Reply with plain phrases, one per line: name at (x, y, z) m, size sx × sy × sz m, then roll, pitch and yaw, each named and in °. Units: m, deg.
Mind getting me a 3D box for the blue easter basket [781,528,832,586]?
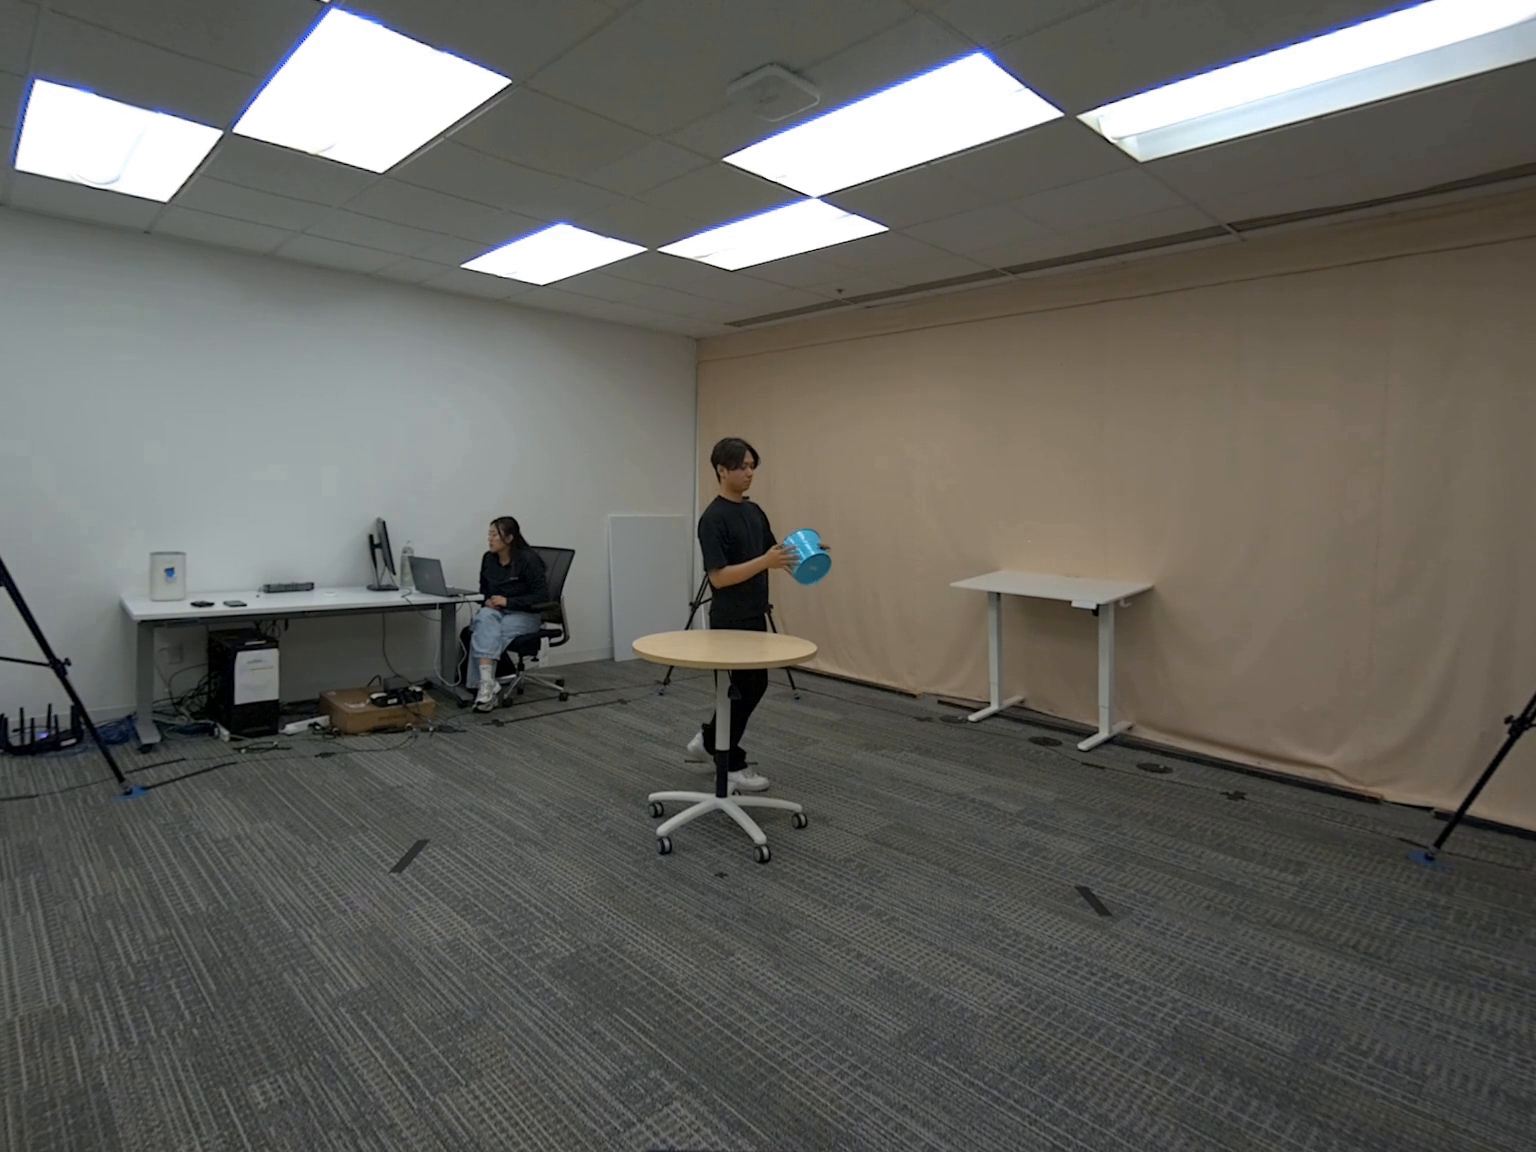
blue easter basket at (0.162, -0.081, 3.800) m, size 0.238 × 0.241 × 0.161 m, roll -1°, pitch 40°, yaw -32°
